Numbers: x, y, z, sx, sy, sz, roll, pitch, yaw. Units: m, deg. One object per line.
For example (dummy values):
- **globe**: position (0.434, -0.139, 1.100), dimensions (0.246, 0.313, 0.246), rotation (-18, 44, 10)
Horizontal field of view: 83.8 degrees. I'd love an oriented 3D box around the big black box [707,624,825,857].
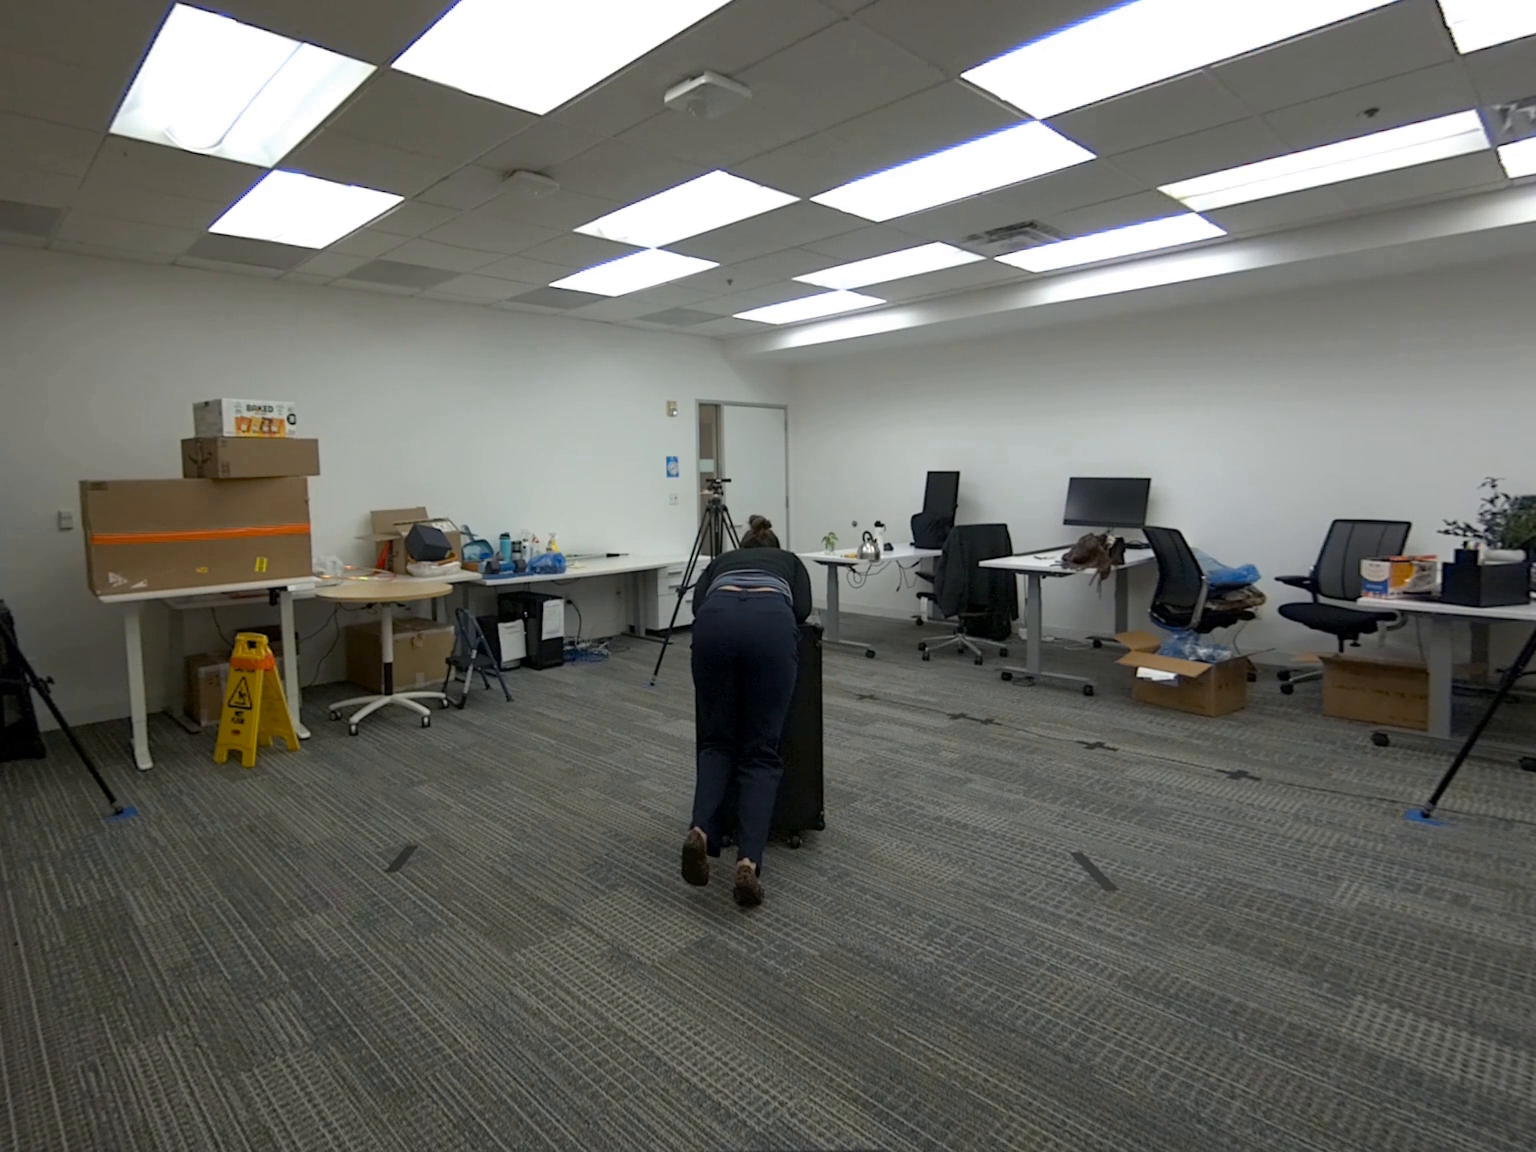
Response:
- **big black box**: position (-0.026, 0.593, 3.380), dimensions (0.523, 0.858, 0.397), rotation (0, 5, 2)
